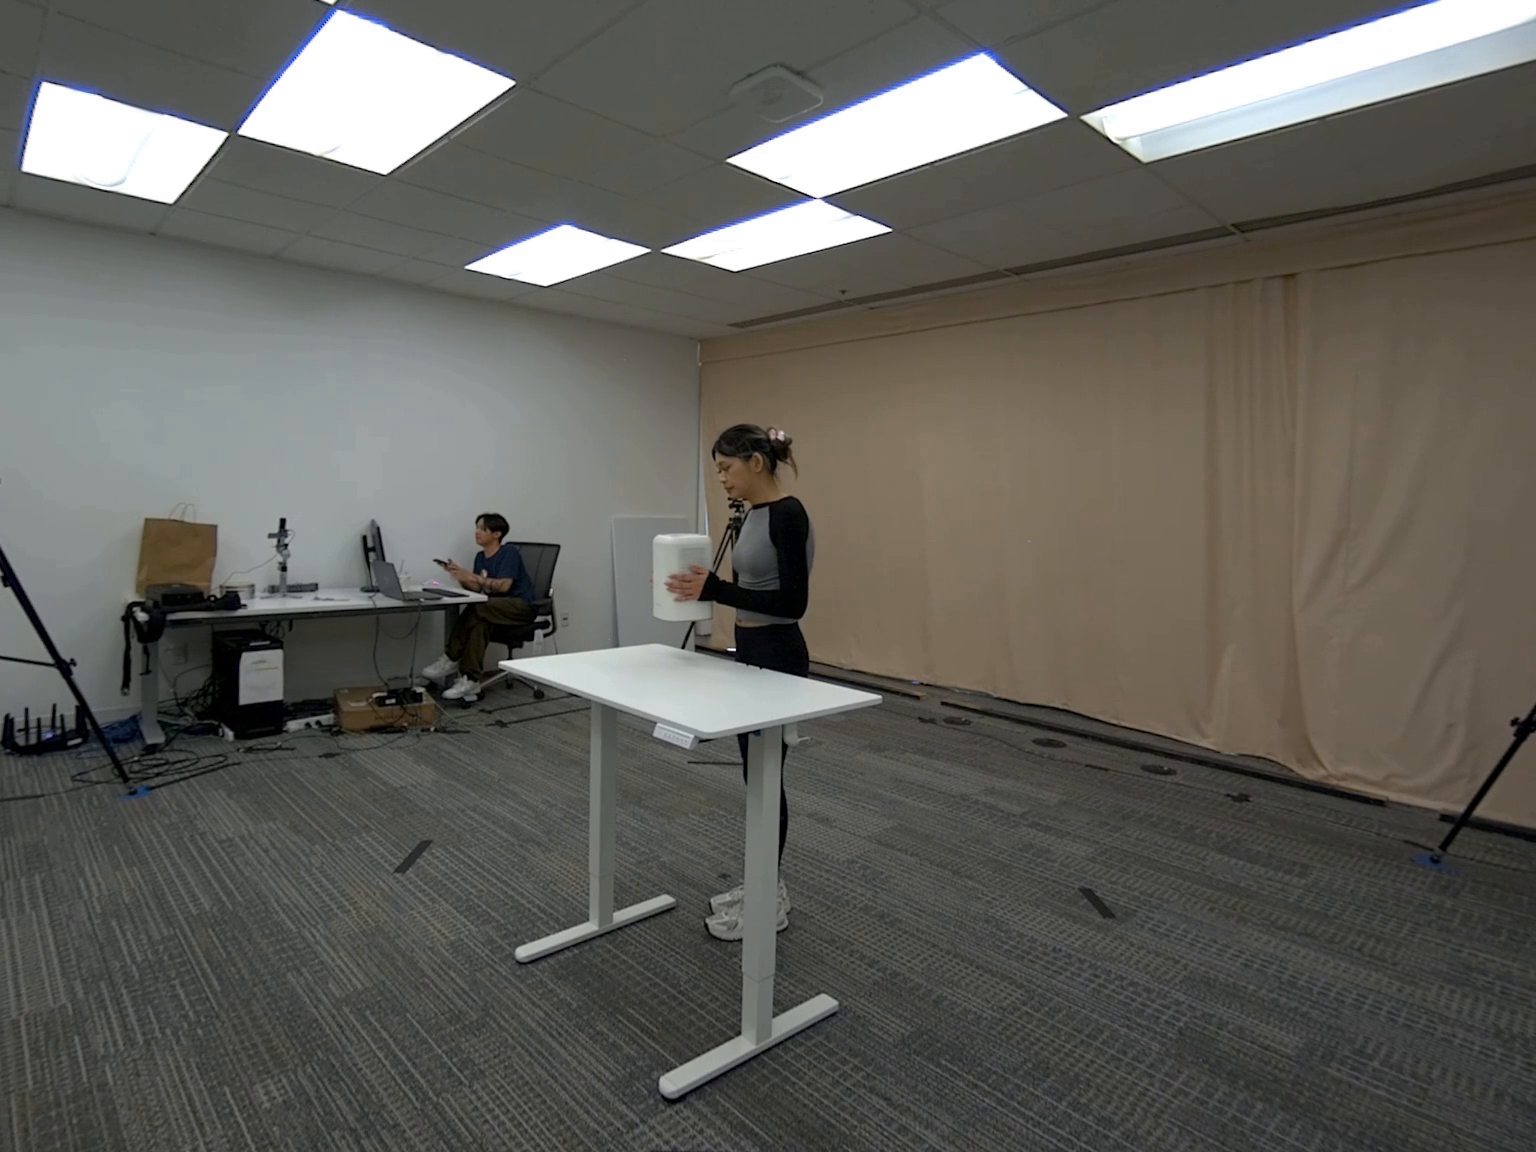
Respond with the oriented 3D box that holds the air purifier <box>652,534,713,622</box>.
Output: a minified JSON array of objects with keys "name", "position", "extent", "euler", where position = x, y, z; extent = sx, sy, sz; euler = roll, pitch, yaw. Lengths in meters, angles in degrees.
[{"name":"air purifier","position":[-0.267,0.000,2.670],"extent":[0.168,0.265,0.175],"euler":[-2,4,-27]}]
